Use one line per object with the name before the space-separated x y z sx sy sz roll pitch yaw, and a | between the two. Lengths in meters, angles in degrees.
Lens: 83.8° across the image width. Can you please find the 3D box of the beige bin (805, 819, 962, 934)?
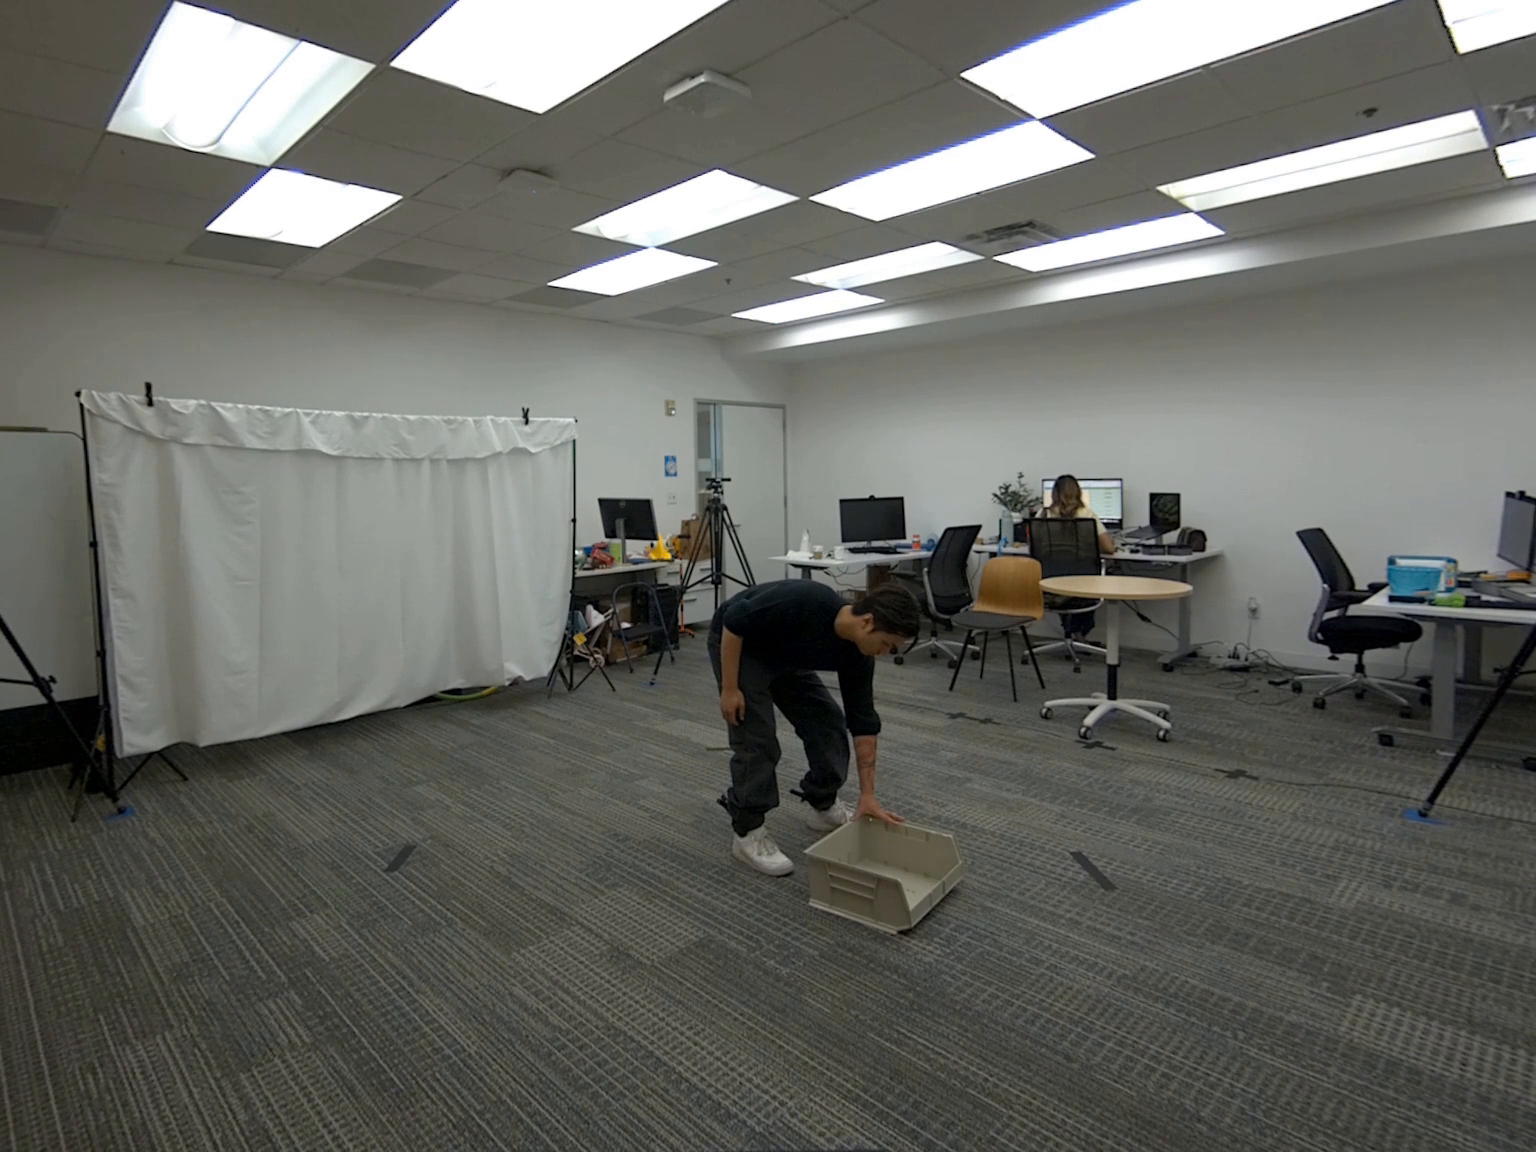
beige bin | 0.394 0.980 2.834 0.388 0.188 0.412 2 7 36
